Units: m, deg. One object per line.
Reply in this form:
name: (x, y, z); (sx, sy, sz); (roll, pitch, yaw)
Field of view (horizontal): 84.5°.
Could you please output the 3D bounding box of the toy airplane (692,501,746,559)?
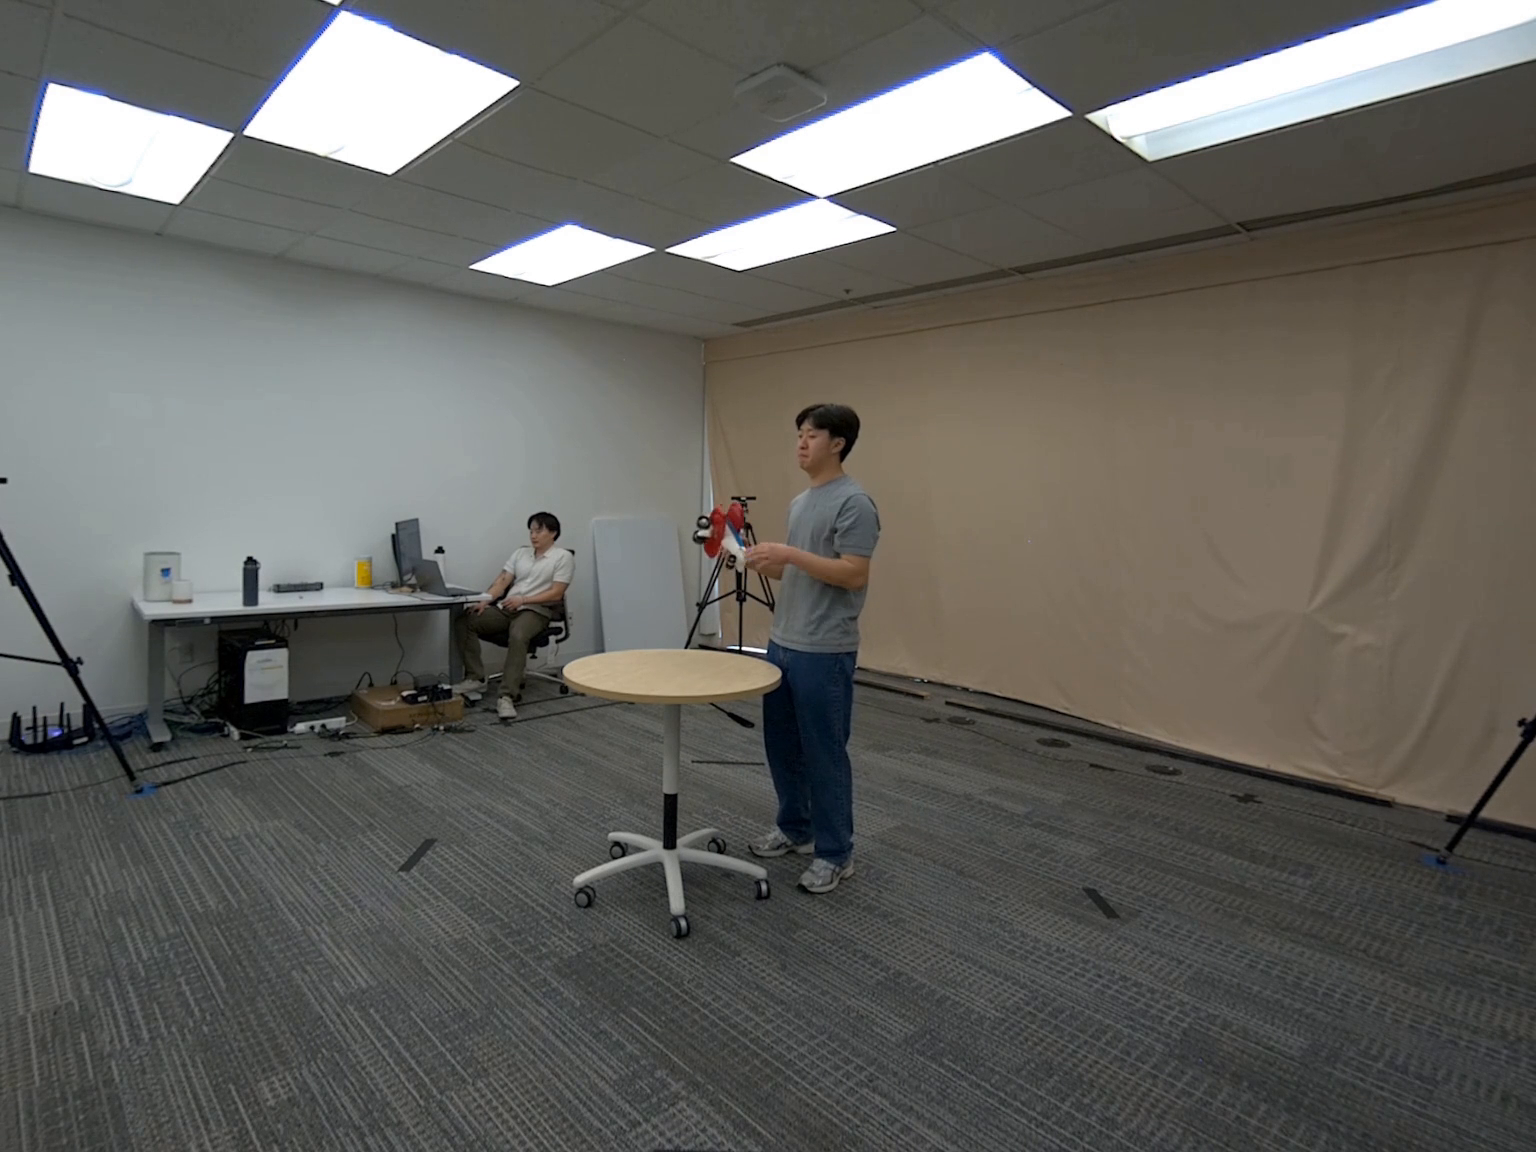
toy airplane: (-0.161, -0.128, 3.167); (0.155, 0.258, 0.254); (-32, 4, -34)
